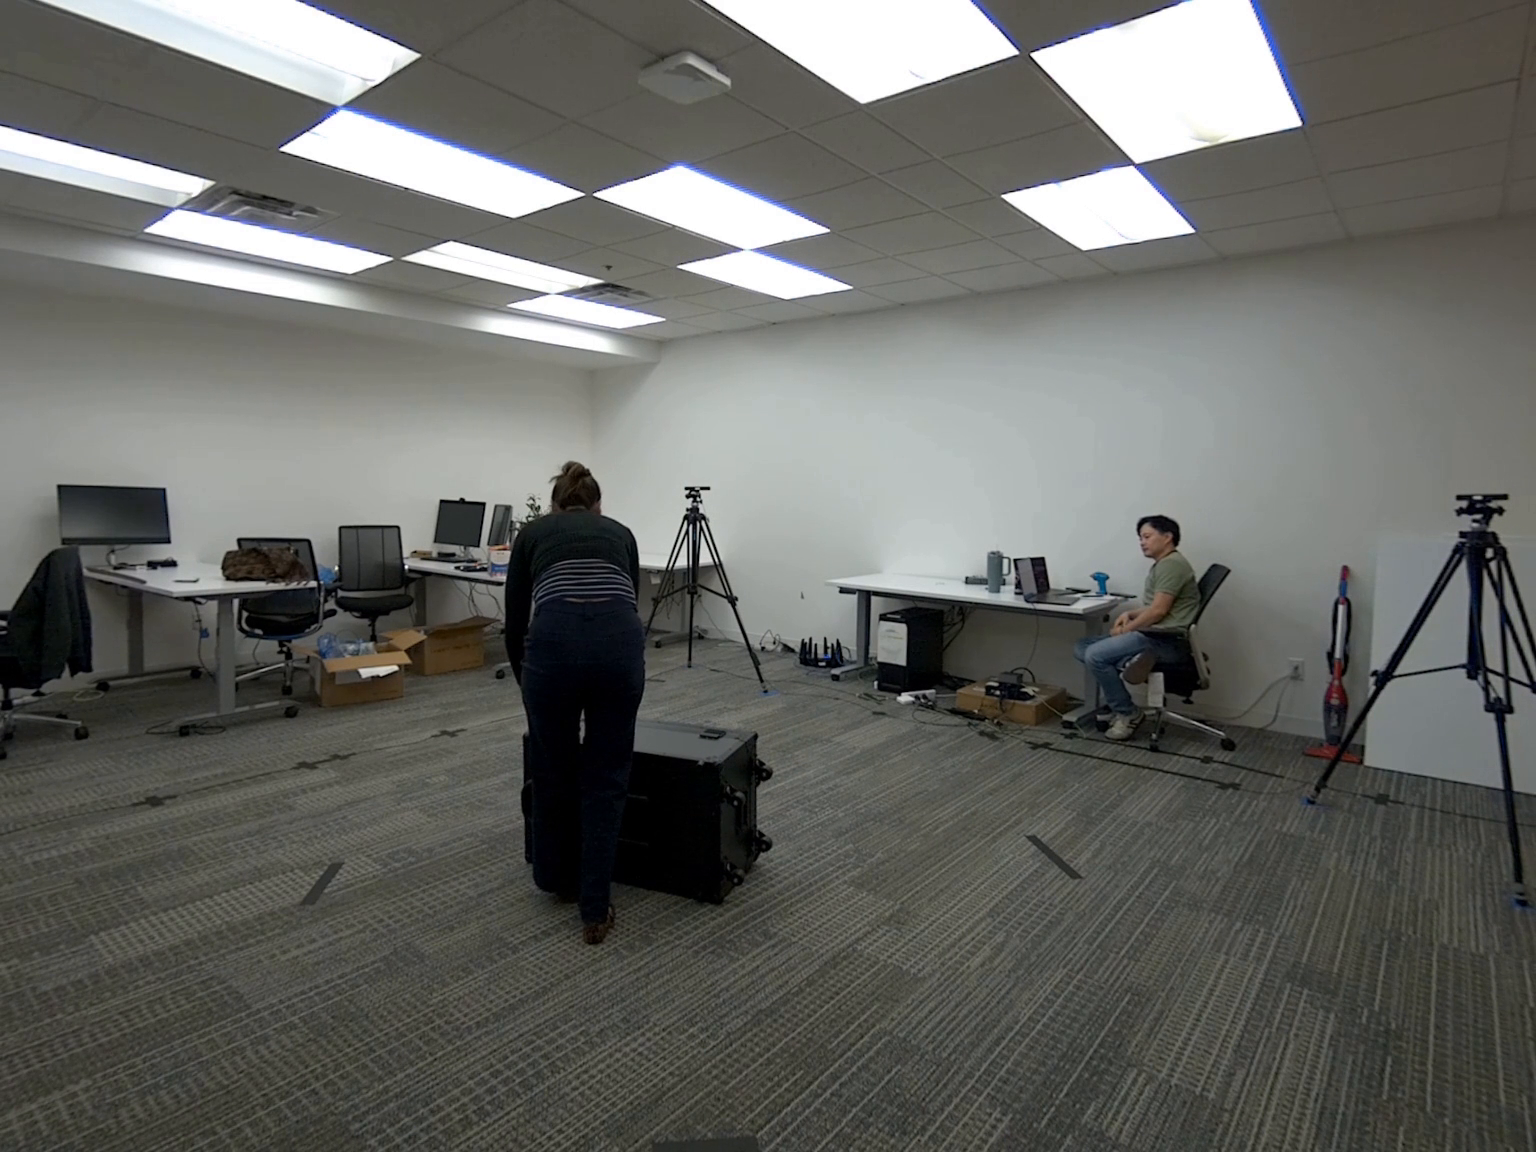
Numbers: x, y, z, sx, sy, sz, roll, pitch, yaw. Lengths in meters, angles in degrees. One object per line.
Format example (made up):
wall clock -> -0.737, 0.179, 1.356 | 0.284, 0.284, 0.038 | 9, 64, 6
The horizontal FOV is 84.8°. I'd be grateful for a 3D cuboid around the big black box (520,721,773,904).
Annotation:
big black box -> -0.448, 0.804, 3.091 | 0.881, 0.519, 0.389 | 2, 6, 22
